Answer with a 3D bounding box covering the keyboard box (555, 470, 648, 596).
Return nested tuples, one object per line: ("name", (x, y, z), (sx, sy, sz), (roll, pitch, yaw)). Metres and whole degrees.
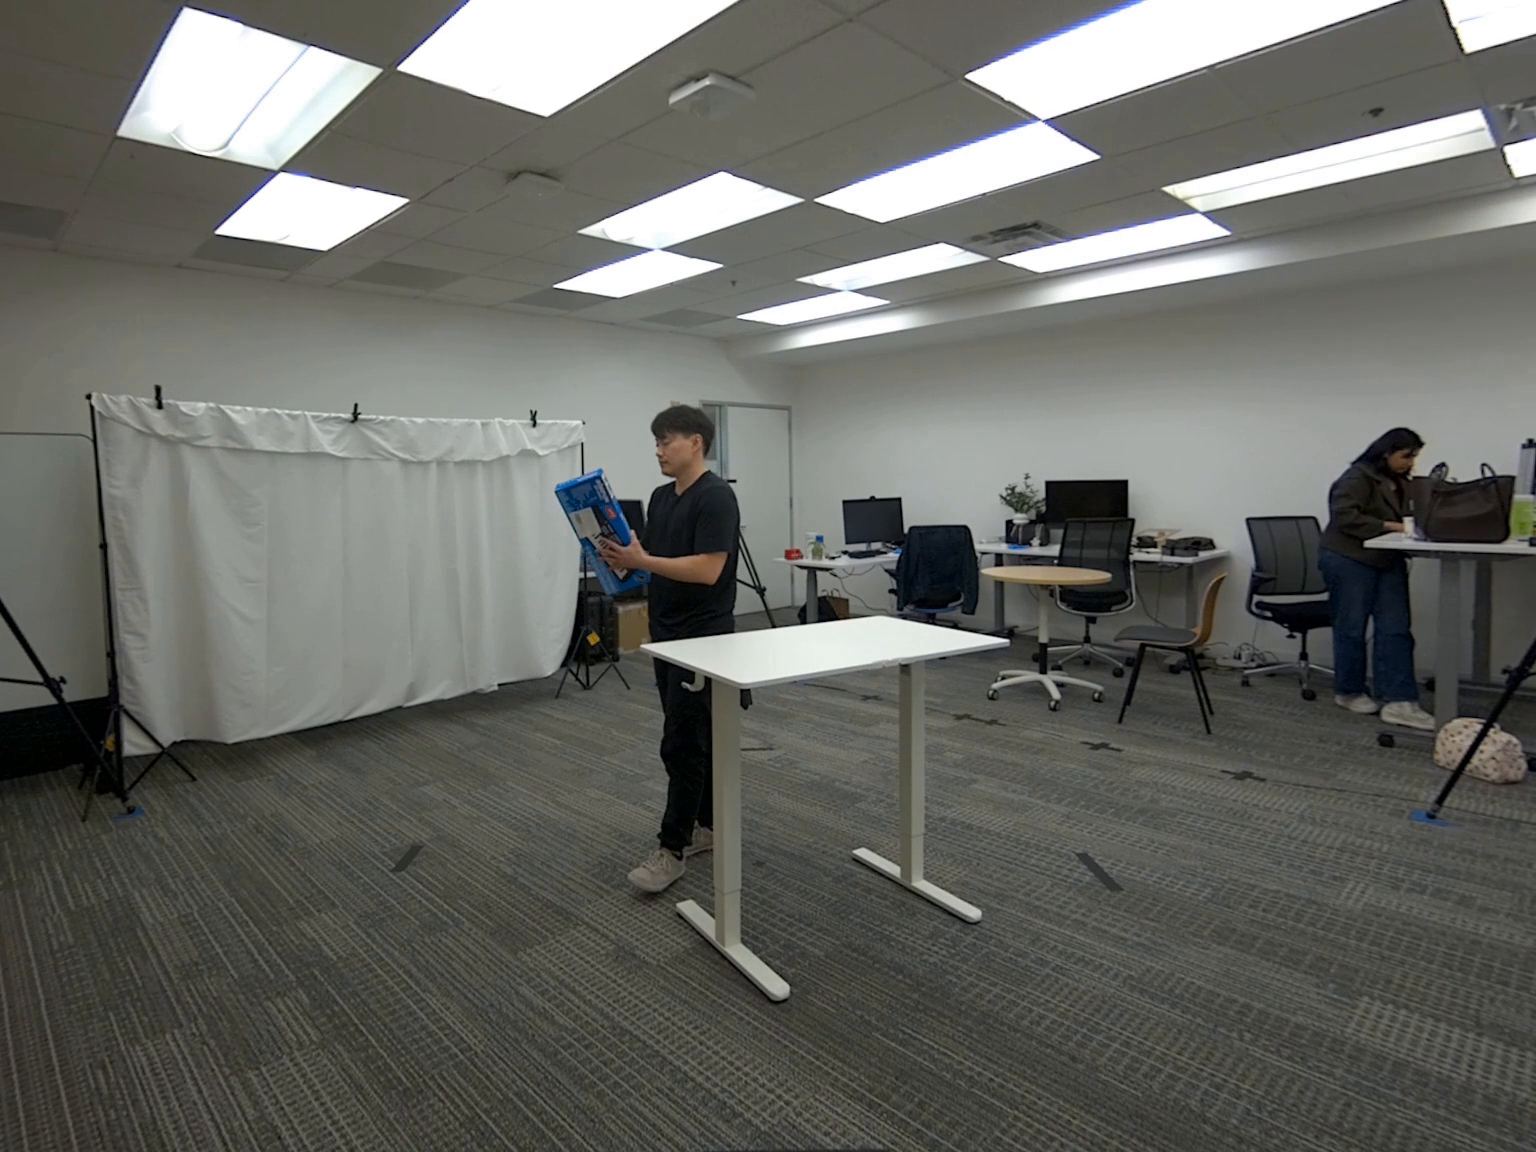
("keyboard box", (-0.568, -0.145, 2.969), (0.177, 0.425, 0.060), (-19, 26, 7))
